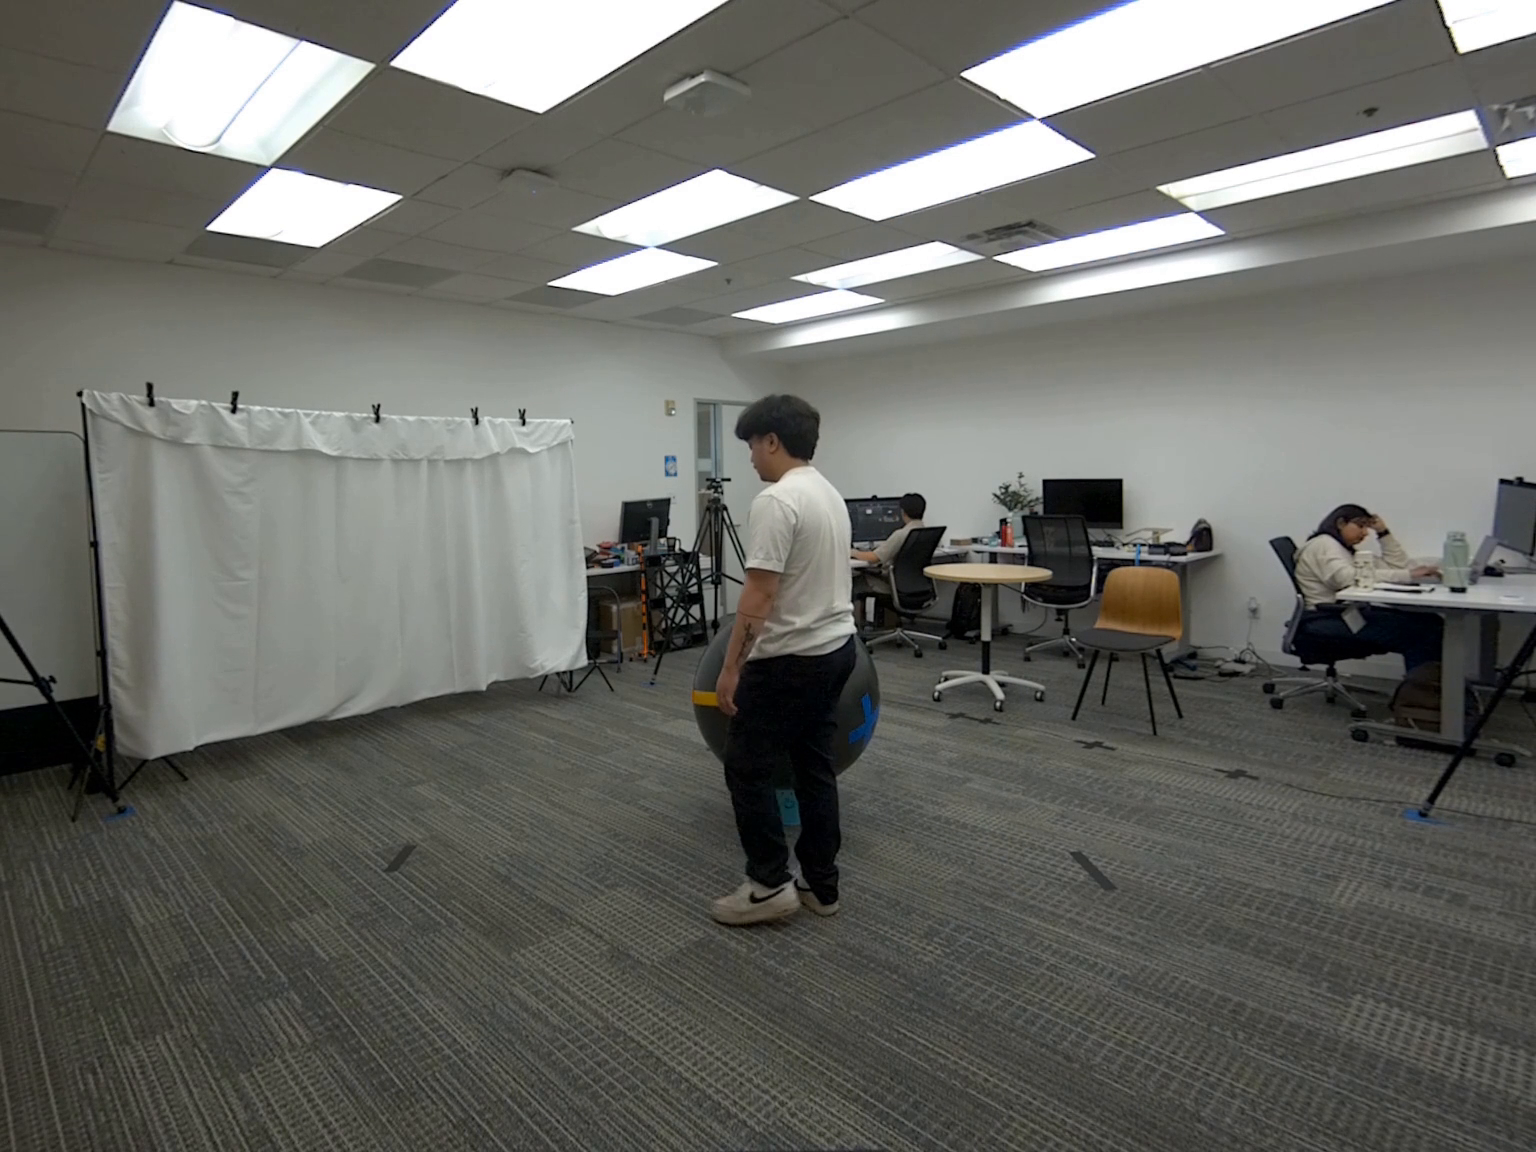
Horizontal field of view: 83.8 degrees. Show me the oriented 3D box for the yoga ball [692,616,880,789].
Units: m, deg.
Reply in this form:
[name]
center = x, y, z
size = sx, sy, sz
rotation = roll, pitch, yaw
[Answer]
[yoga ball]
center = 0.075, 0.485, 3.505
size = 0.757, 0.755, 0.762
rotation = -1, 5, -2
